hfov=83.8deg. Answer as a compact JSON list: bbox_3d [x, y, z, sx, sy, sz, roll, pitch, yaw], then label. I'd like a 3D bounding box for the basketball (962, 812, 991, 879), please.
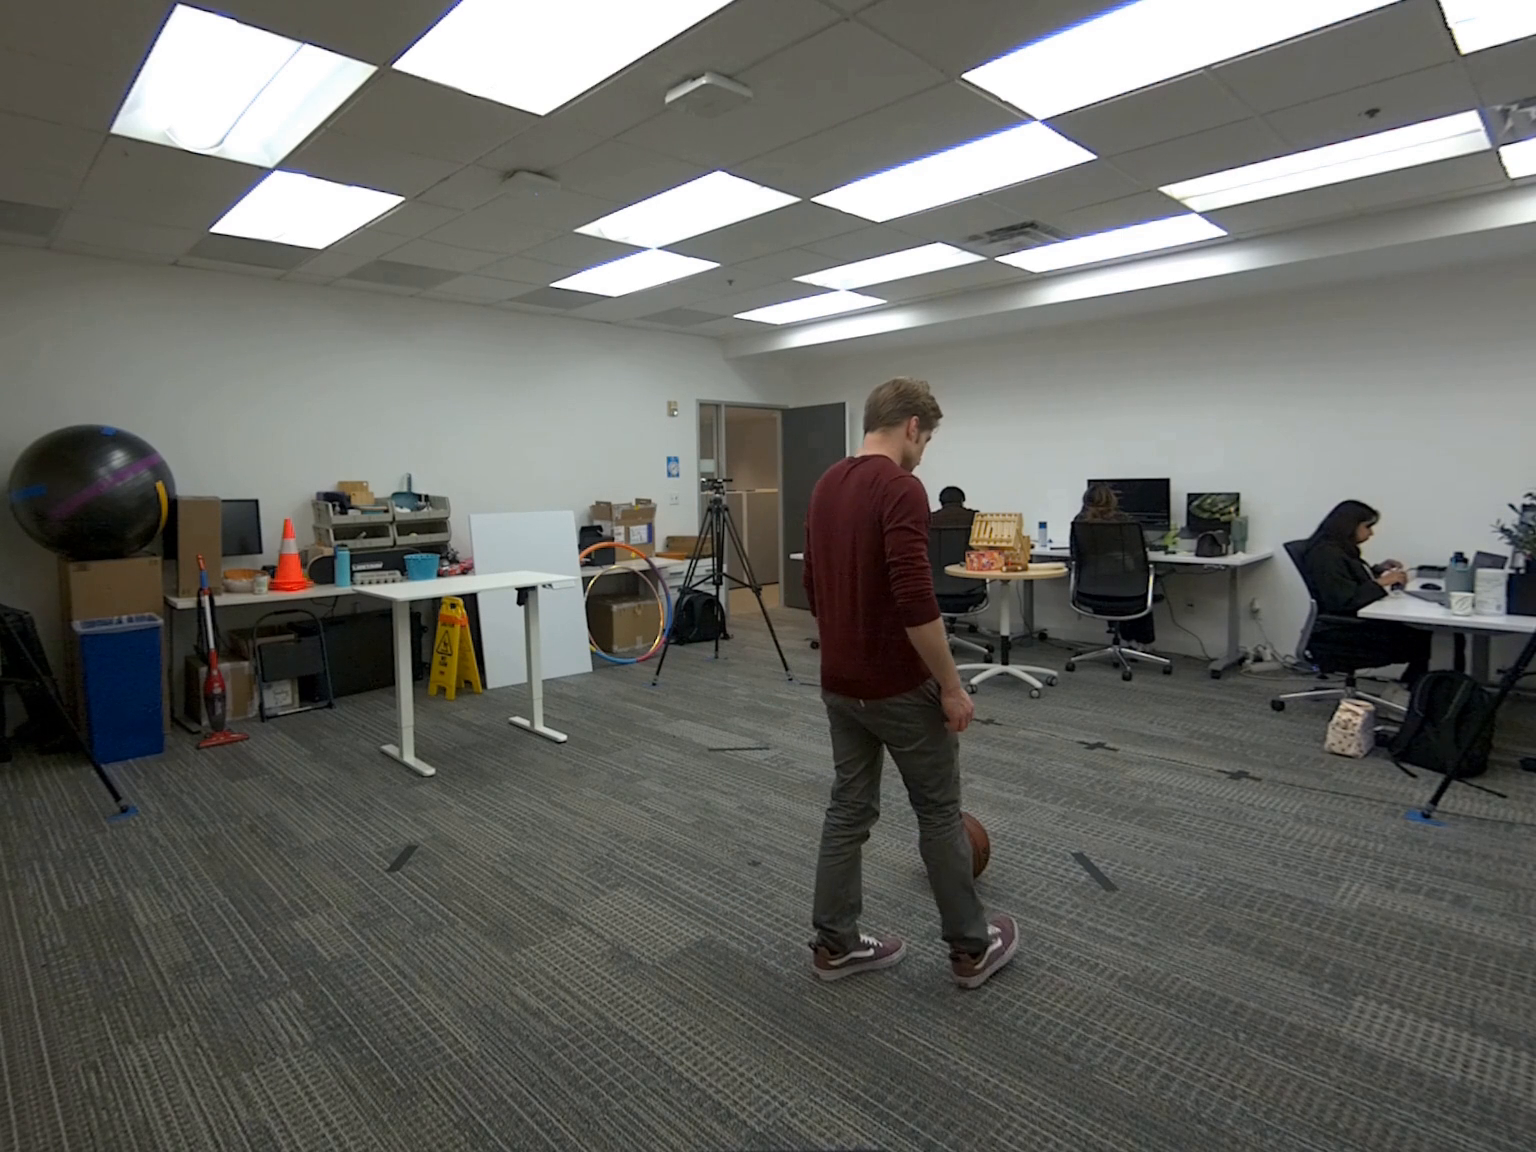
[{"bbox_3d":[0.650,0.929,2.948,0.236,0.235,0.237,-1,5,-2],"label":"basketball"}]
